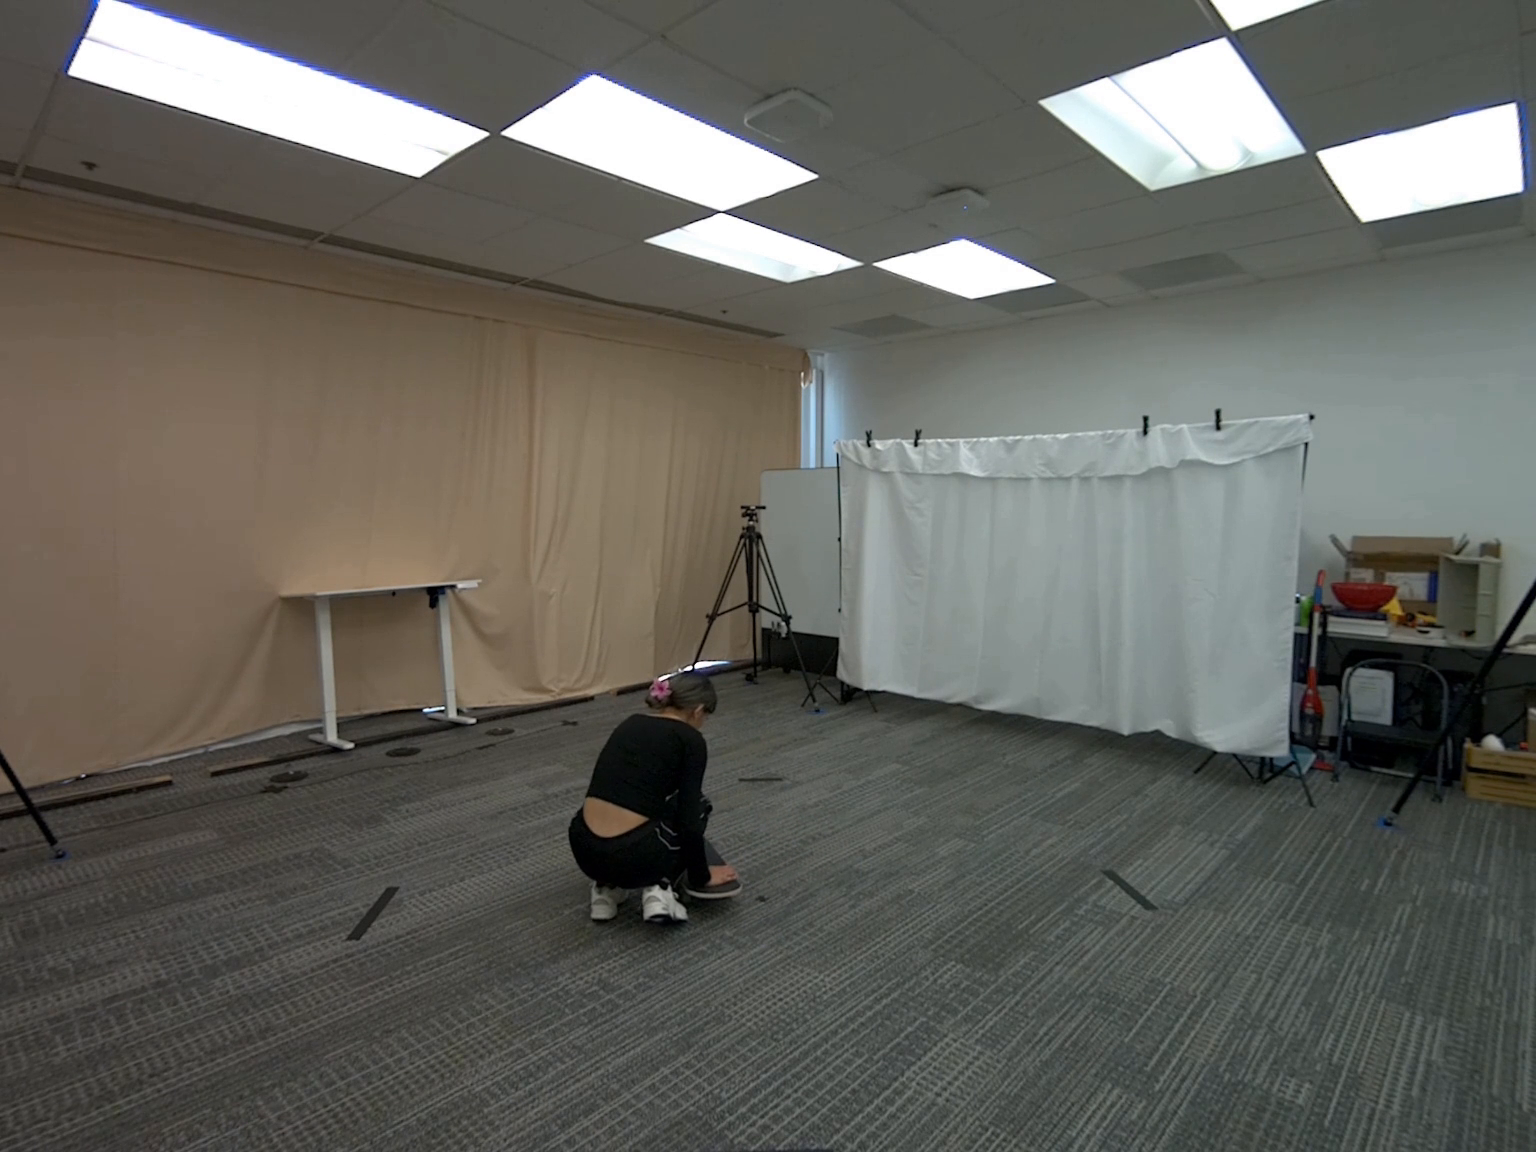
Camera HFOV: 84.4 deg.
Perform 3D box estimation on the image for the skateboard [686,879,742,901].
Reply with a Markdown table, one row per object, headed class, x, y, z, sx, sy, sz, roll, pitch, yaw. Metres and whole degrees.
| class | x | y | z | sx | sy | sz | roll | pitch | yaw |
| --- | --- | --- | --- | --- | --- | --- | --- | --- | --- |
| skateboard | -0.289 | 1.076 | 3.164 | 0.189 | 0.110 | 0.803 | 0 | 5 | -21 |
